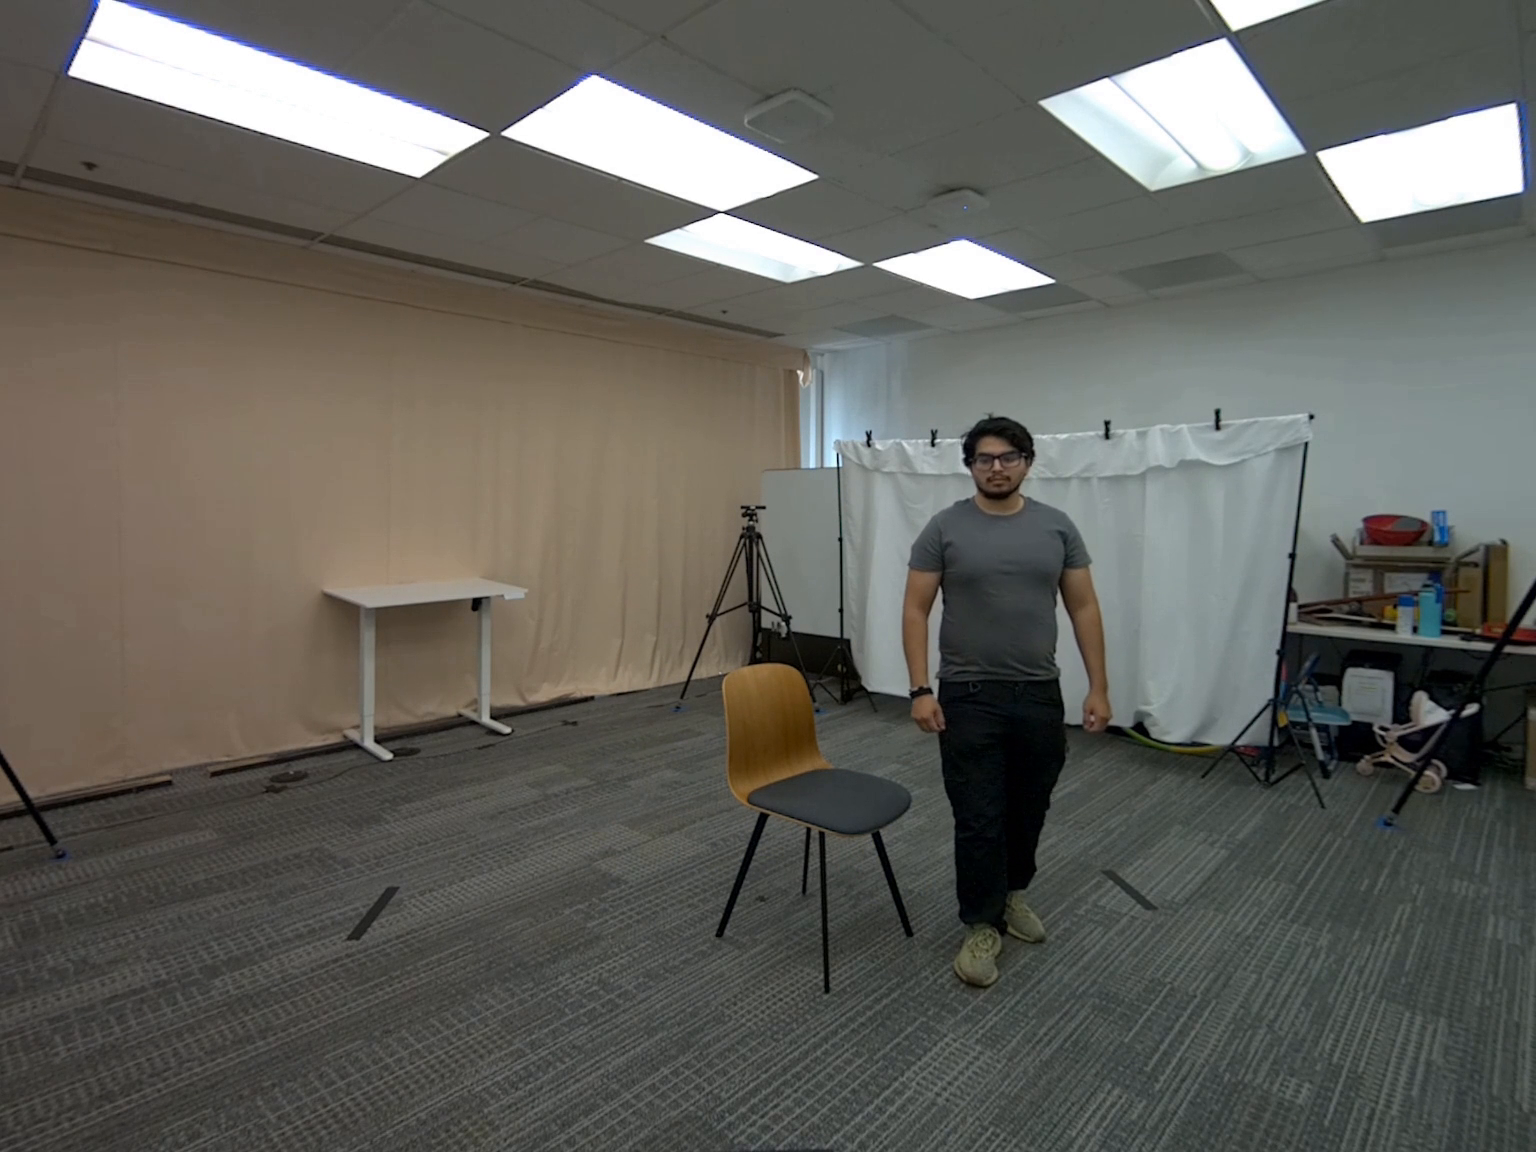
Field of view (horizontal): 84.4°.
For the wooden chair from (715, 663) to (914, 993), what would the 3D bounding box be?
[{"bbox_3d":[0.158,0.743,2.684,0.539,0.877,0.463,-3,0,43],"label":"wooden chair"}]
